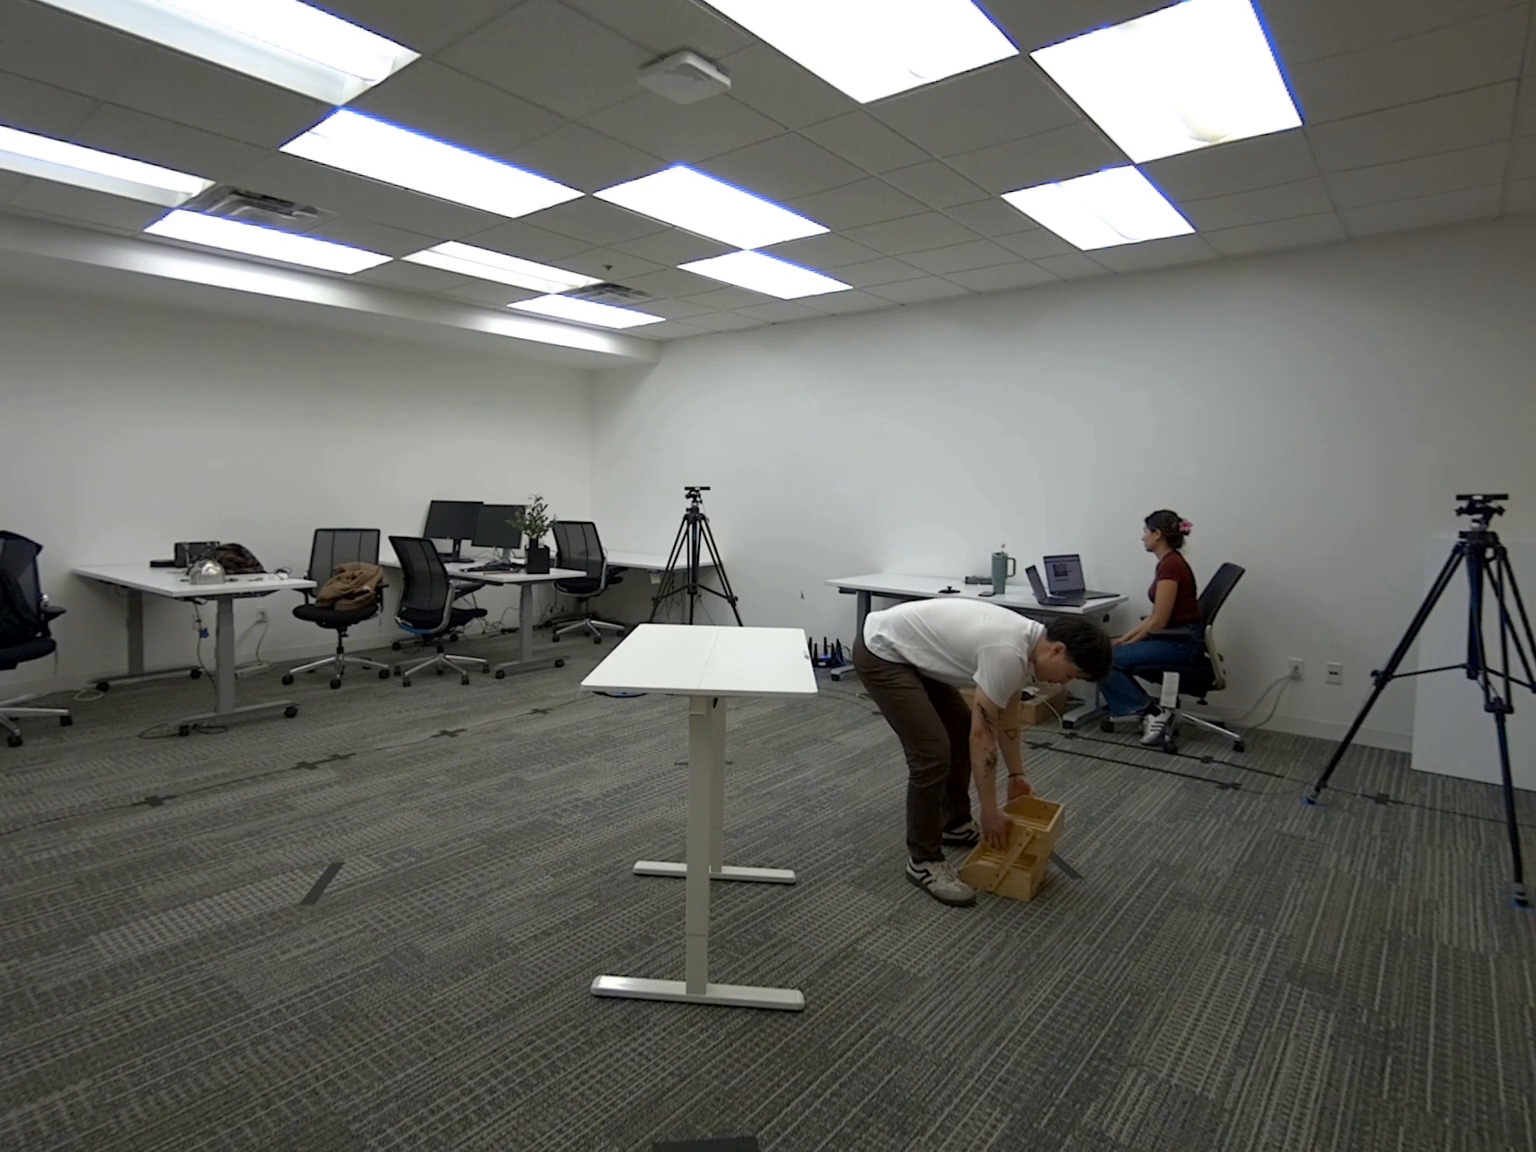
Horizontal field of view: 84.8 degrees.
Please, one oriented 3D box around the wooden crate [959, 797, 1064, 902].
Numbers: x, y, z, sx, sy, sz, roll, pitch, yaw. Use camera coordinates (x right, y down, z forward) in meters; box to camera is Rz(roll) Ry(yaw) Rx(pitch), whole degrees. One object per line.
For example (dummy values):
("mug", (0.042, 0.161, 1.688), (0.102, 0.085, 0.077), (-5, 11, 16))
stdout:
("wooden crate", (0.876, 0.958, 3.072), (0.311, 0.272, 0.316), (4, 5, 30))
